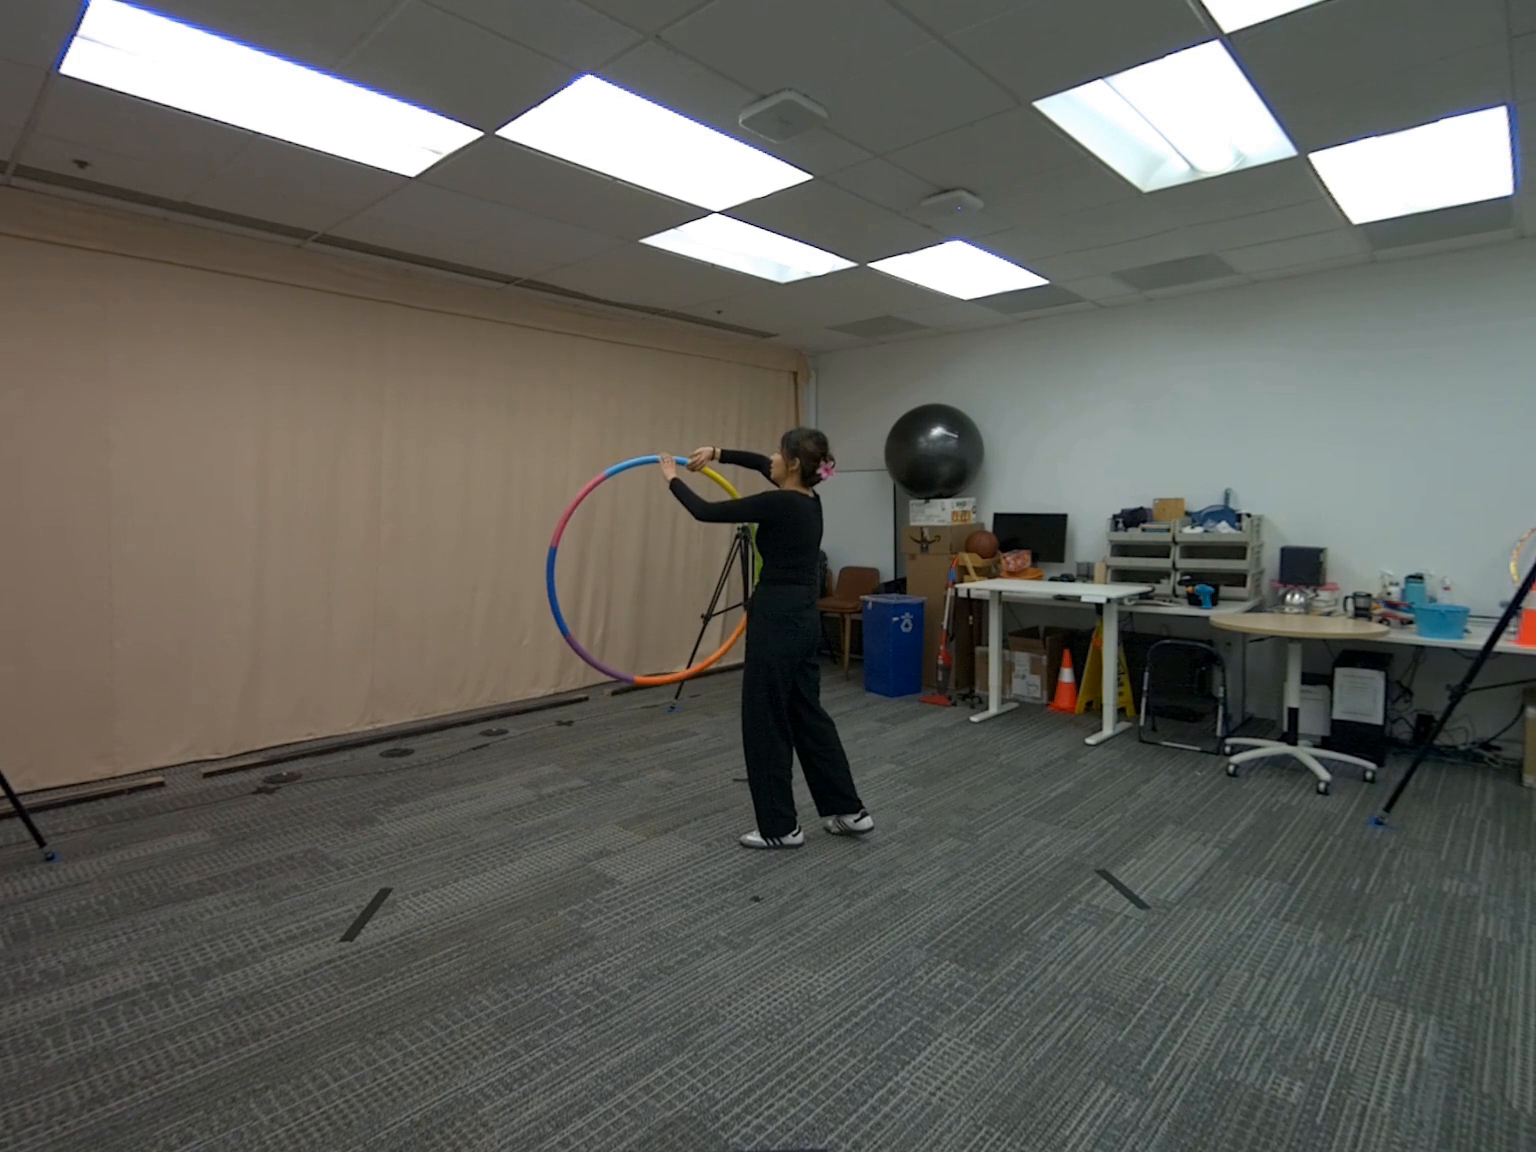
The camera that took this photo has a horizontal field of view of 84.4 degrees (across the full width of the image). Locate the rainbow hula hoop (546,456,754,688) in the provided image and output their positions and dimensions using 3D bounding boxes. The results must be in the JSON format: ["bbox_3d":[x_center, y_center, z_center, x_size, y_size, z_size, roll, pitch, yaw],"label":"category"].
[{"bbox_3d":[-0.454,-0.020,3.644,0.964,0.981,0.053,-1,7,-21],"label":"rainbow hula hoop"}]
